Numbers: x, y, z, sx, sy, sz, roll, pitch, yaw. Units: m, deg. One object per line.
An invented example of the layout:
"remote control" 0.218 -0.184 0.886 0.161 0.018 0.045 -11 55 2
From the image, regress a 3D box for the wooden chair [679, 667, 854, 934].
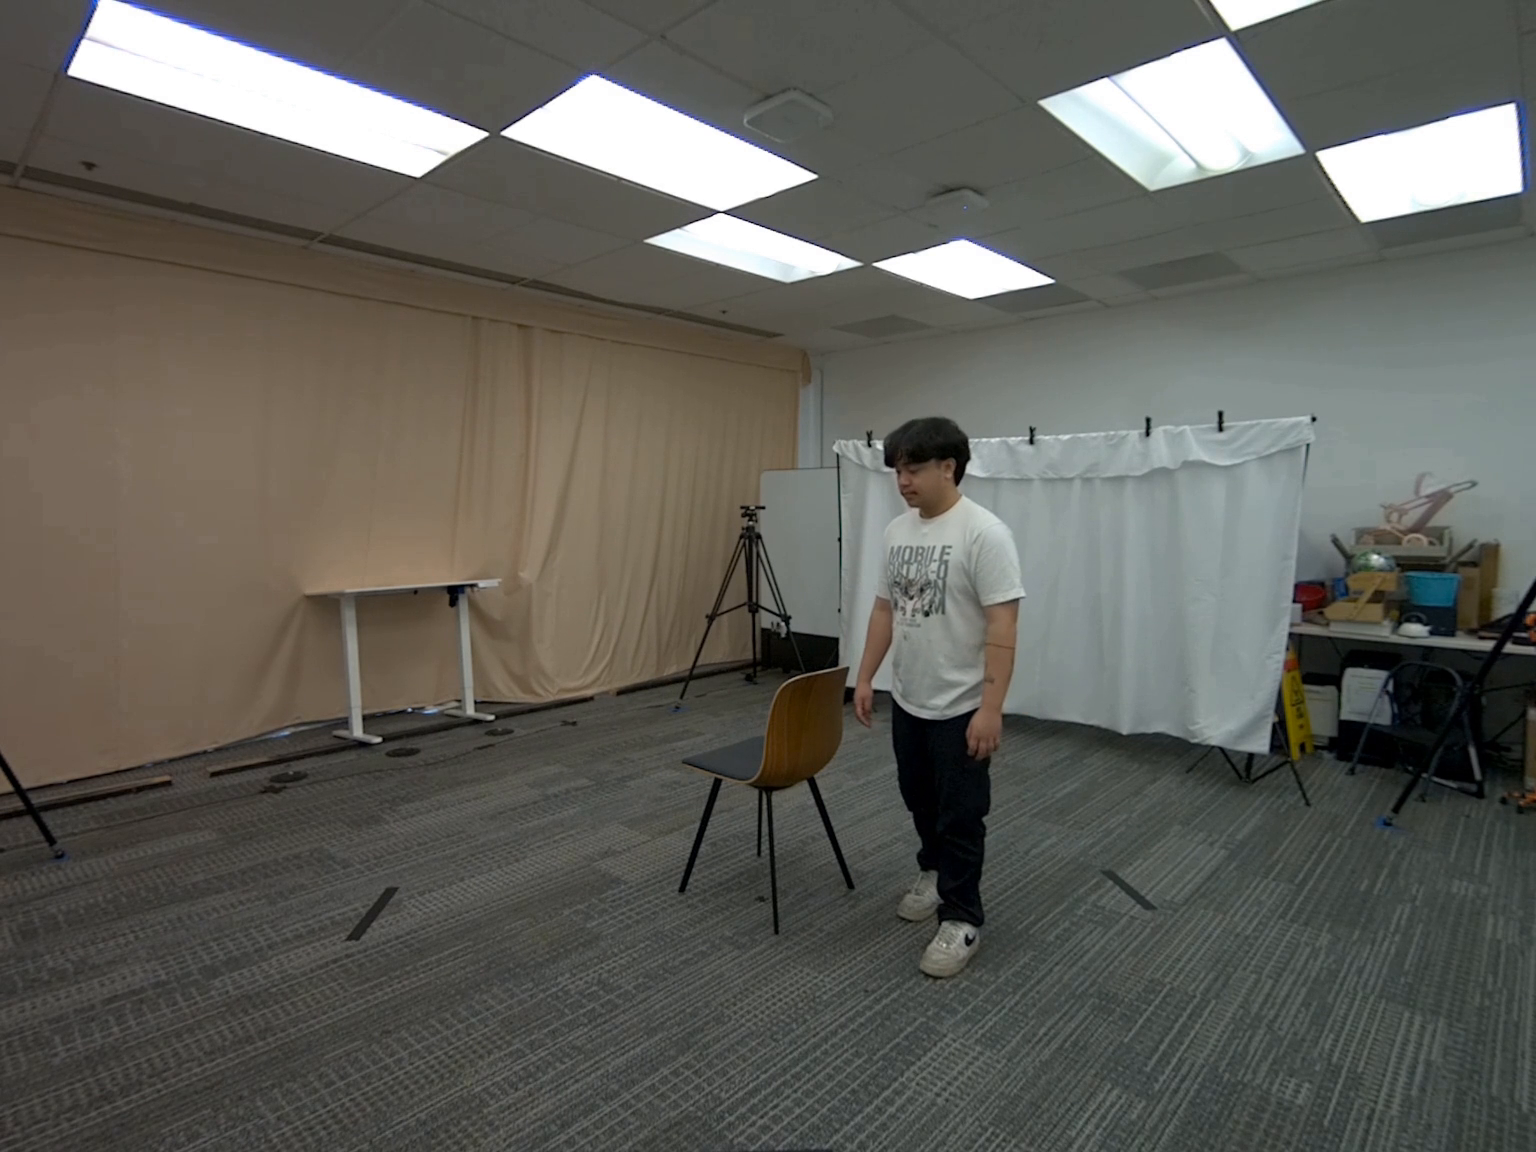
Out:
"wooden chair" -0.012 0.713 3.024 0.541 0.874 0.463 9 8 40
